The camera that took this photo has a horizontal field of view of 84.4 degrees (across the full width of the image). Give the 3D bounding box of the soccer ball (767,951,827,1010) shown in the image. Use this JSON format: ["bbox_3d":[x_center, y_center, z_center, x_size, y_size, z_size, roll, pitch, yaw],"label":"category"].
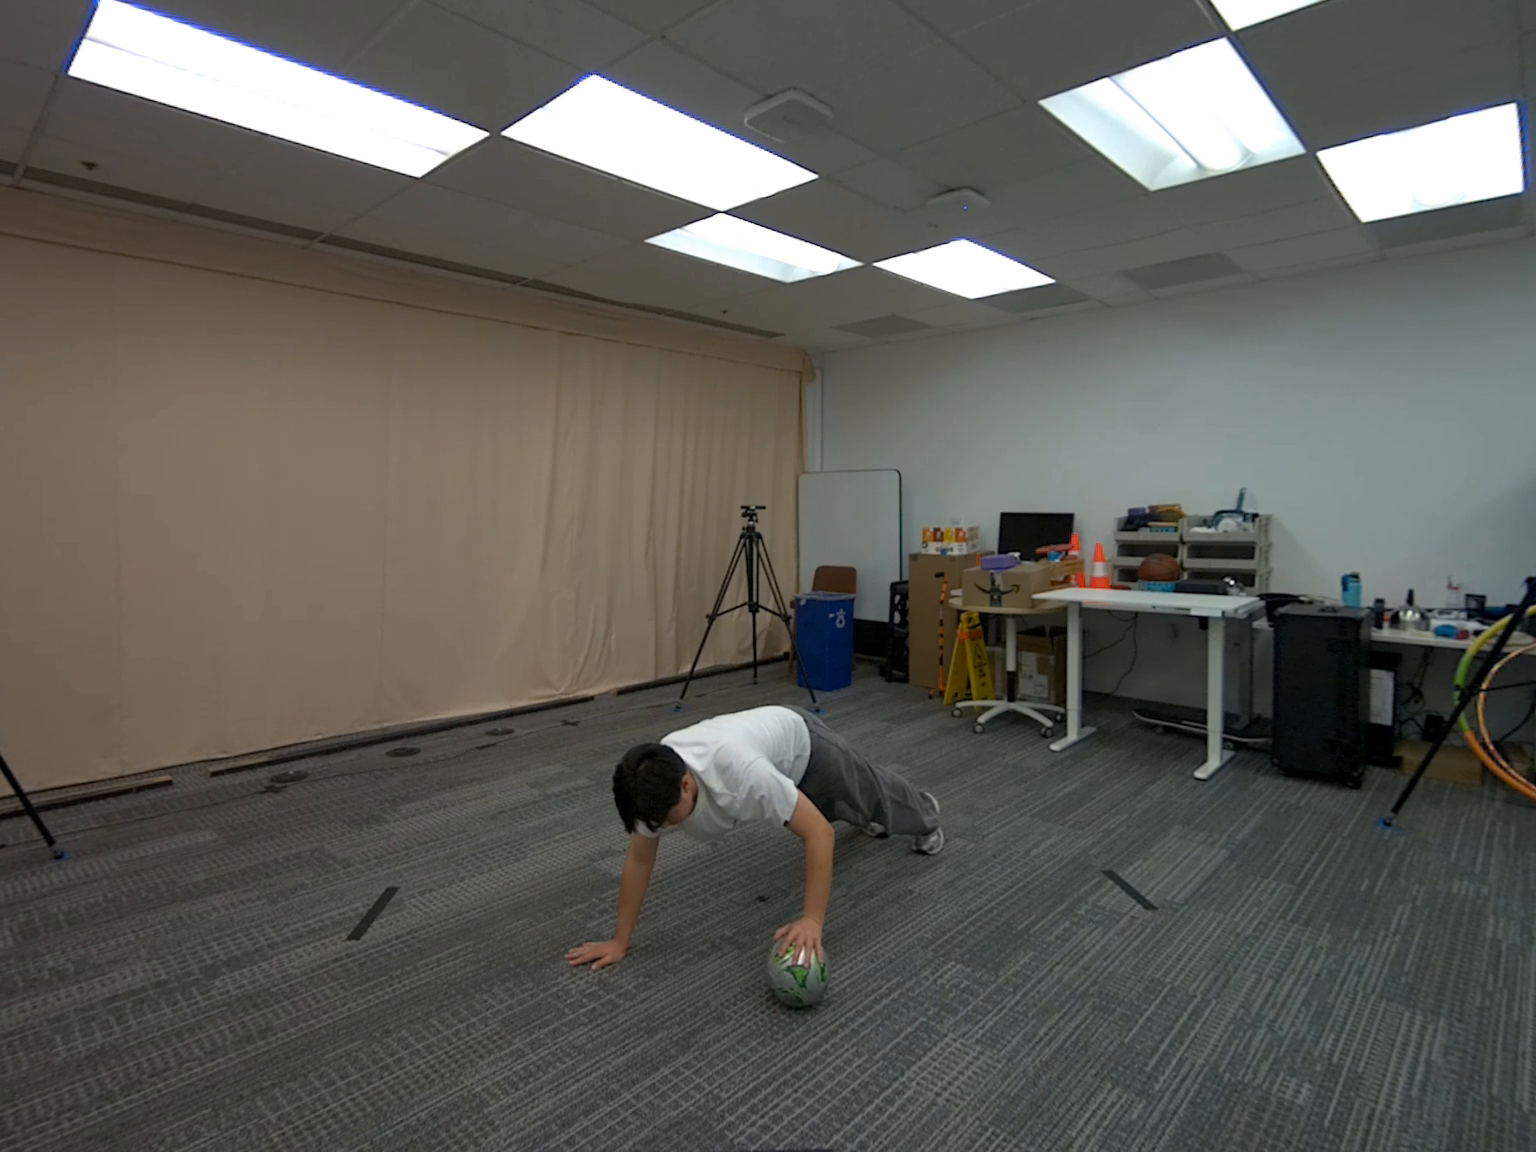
[{"bbox_3d":[0.082,1.101,2.369,0.187,0.187,0.188,0,4,-2],"label":"soccer ball"}]
